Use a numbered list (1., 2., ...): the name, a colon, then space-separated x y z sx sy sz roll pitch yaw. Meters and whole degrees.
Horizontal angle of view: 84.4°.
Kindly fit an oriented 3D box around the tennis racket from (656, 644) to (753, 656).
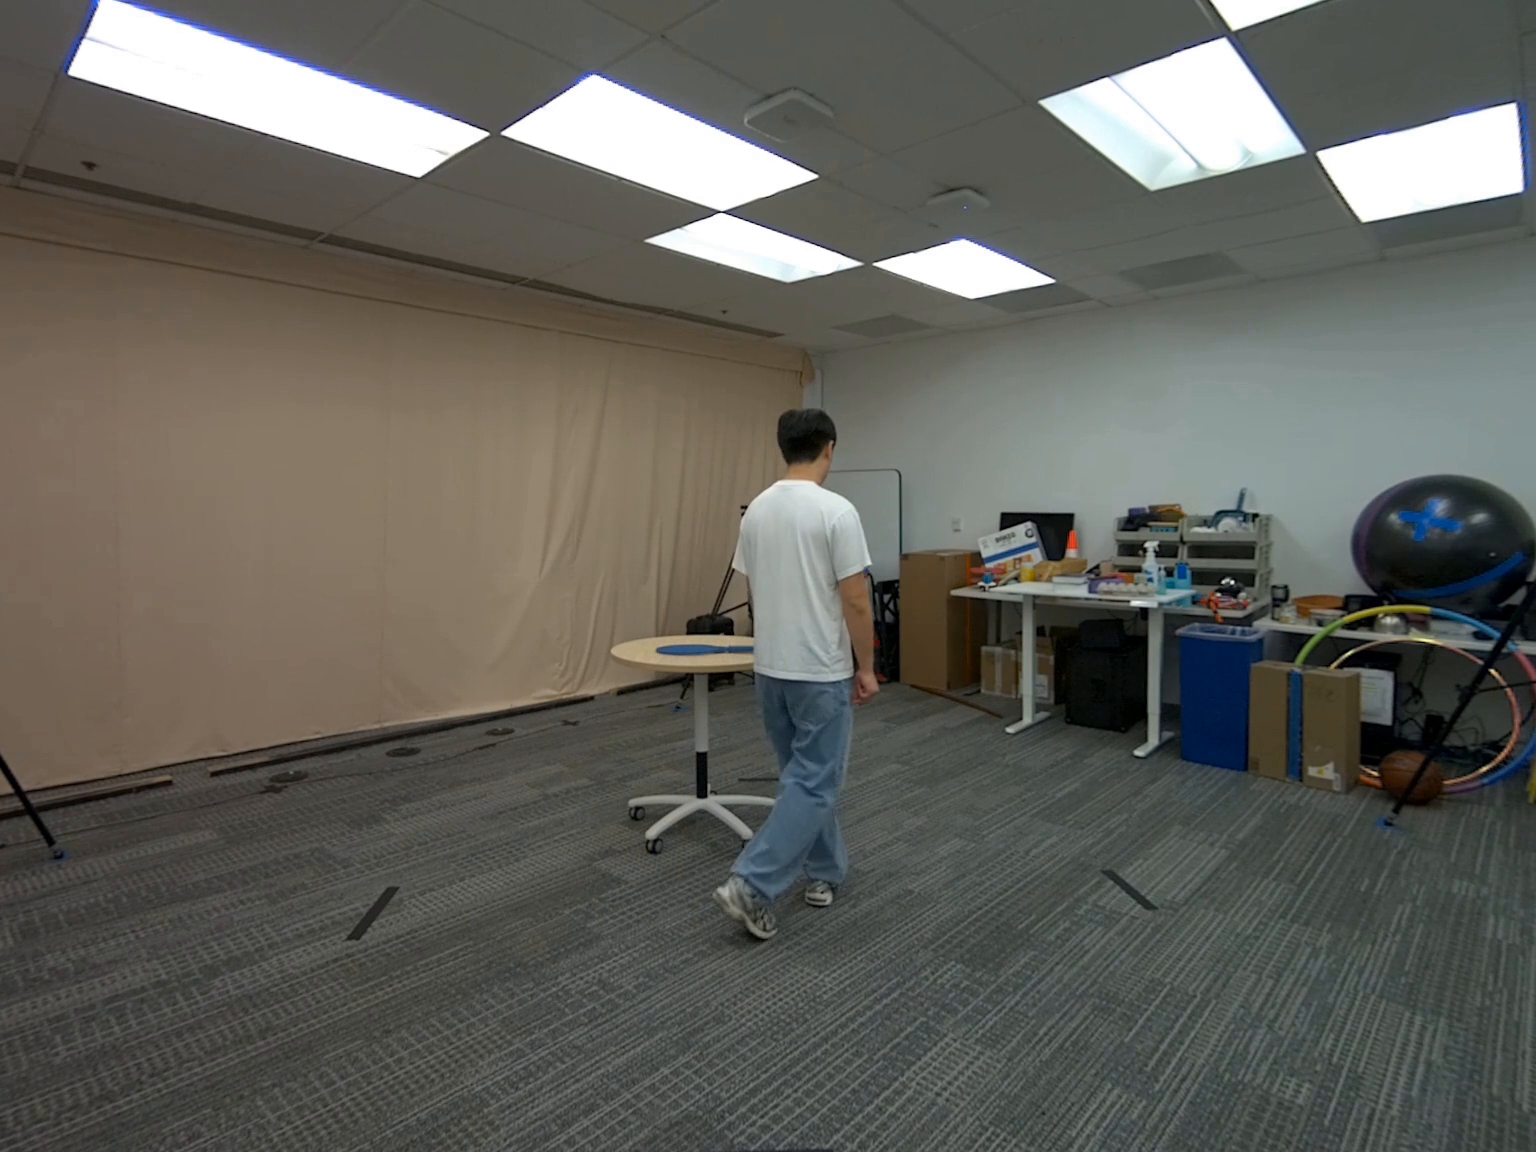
1. tennis racket: -0.260 0.307 3.513 0.439 0.032 0.211 -1 5 12
